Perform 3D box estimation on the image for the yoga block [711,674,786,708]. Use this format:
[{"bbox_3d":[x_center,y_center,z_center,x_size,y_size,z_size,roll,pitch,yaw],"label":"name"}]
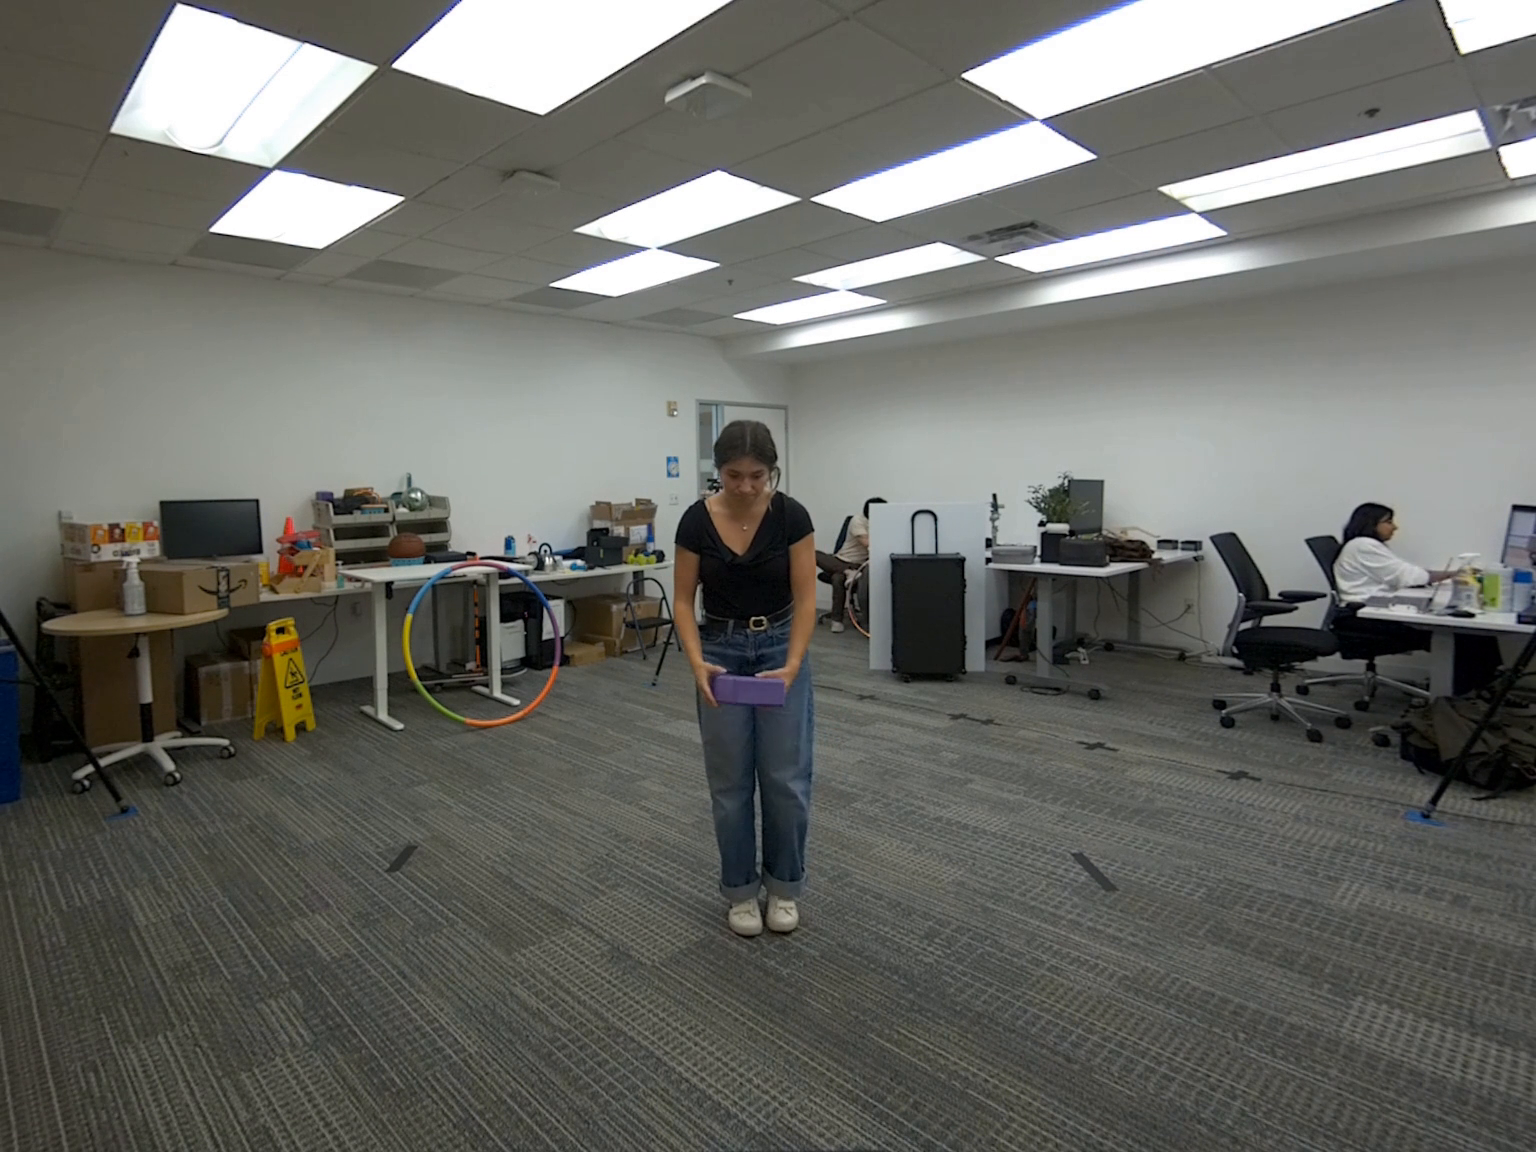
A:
[{"bbox_3d":[-0.052,0.332,2.371,0.147,0.077,0.231,3,-7,-15],"label":"yoga block"}]
